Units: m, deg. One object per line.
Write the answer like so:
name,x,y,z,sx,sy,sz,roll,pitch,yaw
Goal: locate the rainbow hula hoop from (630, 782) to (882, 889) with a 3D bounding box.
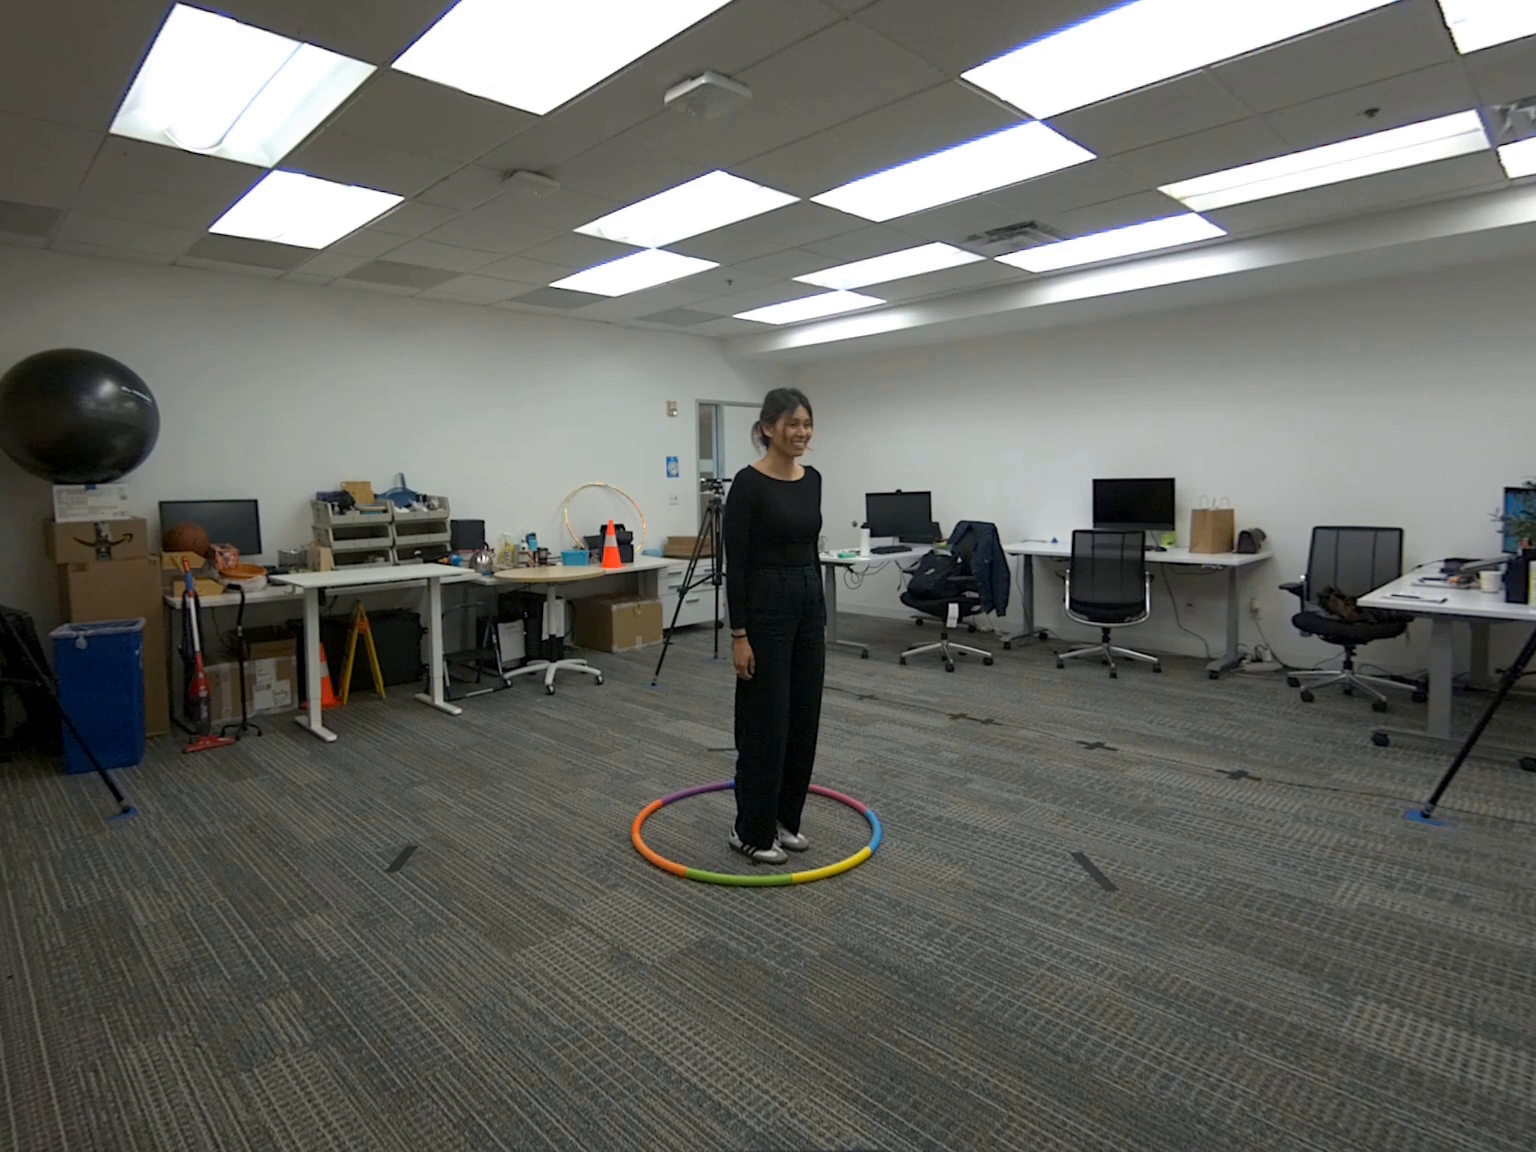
rainbow hula hoop,-0.045,0.983,3.401,0.978,0.035,0.984,-1,6,-2
